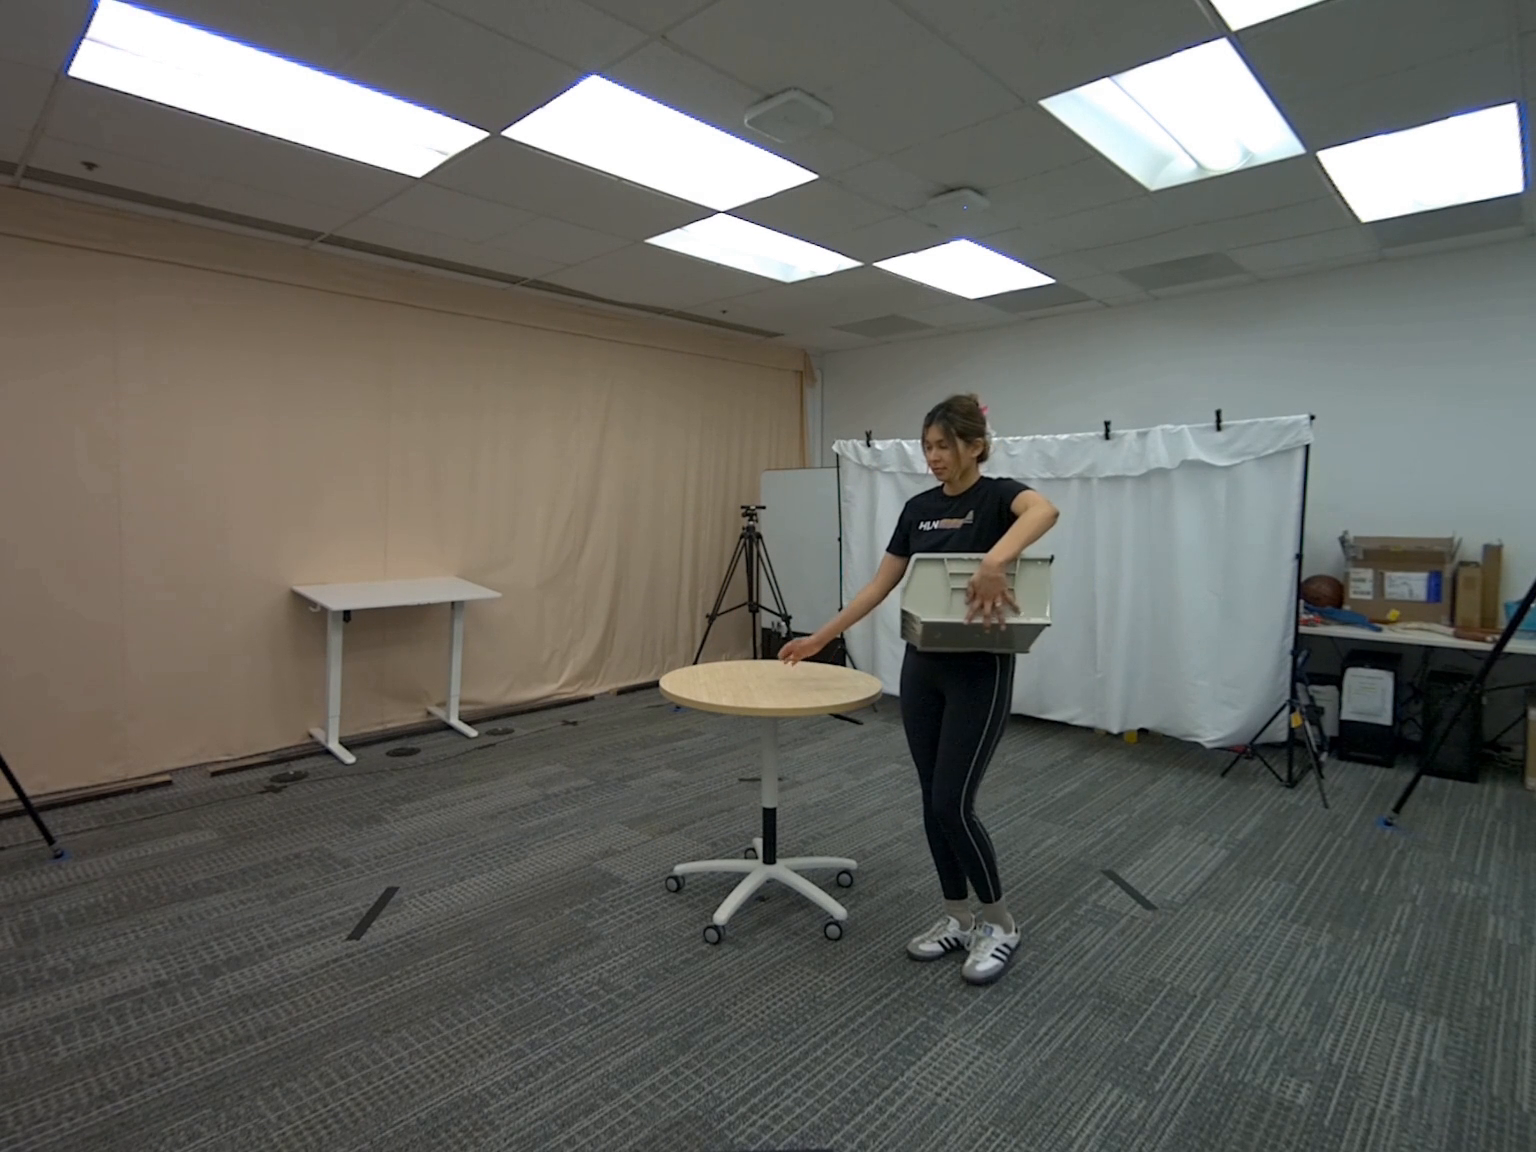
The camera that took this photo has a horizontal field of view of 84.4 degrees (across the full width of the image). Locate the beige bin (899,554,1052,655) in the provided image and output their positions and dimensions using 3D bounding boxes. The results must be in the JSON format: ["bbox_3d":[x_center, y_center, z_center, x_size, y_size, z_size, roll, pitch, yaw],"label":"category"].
[{"bbox_3d":[0.552,0.084,2.314,0.382,0.190,0.413,2,-16,11],"label":"beige bin"}]
